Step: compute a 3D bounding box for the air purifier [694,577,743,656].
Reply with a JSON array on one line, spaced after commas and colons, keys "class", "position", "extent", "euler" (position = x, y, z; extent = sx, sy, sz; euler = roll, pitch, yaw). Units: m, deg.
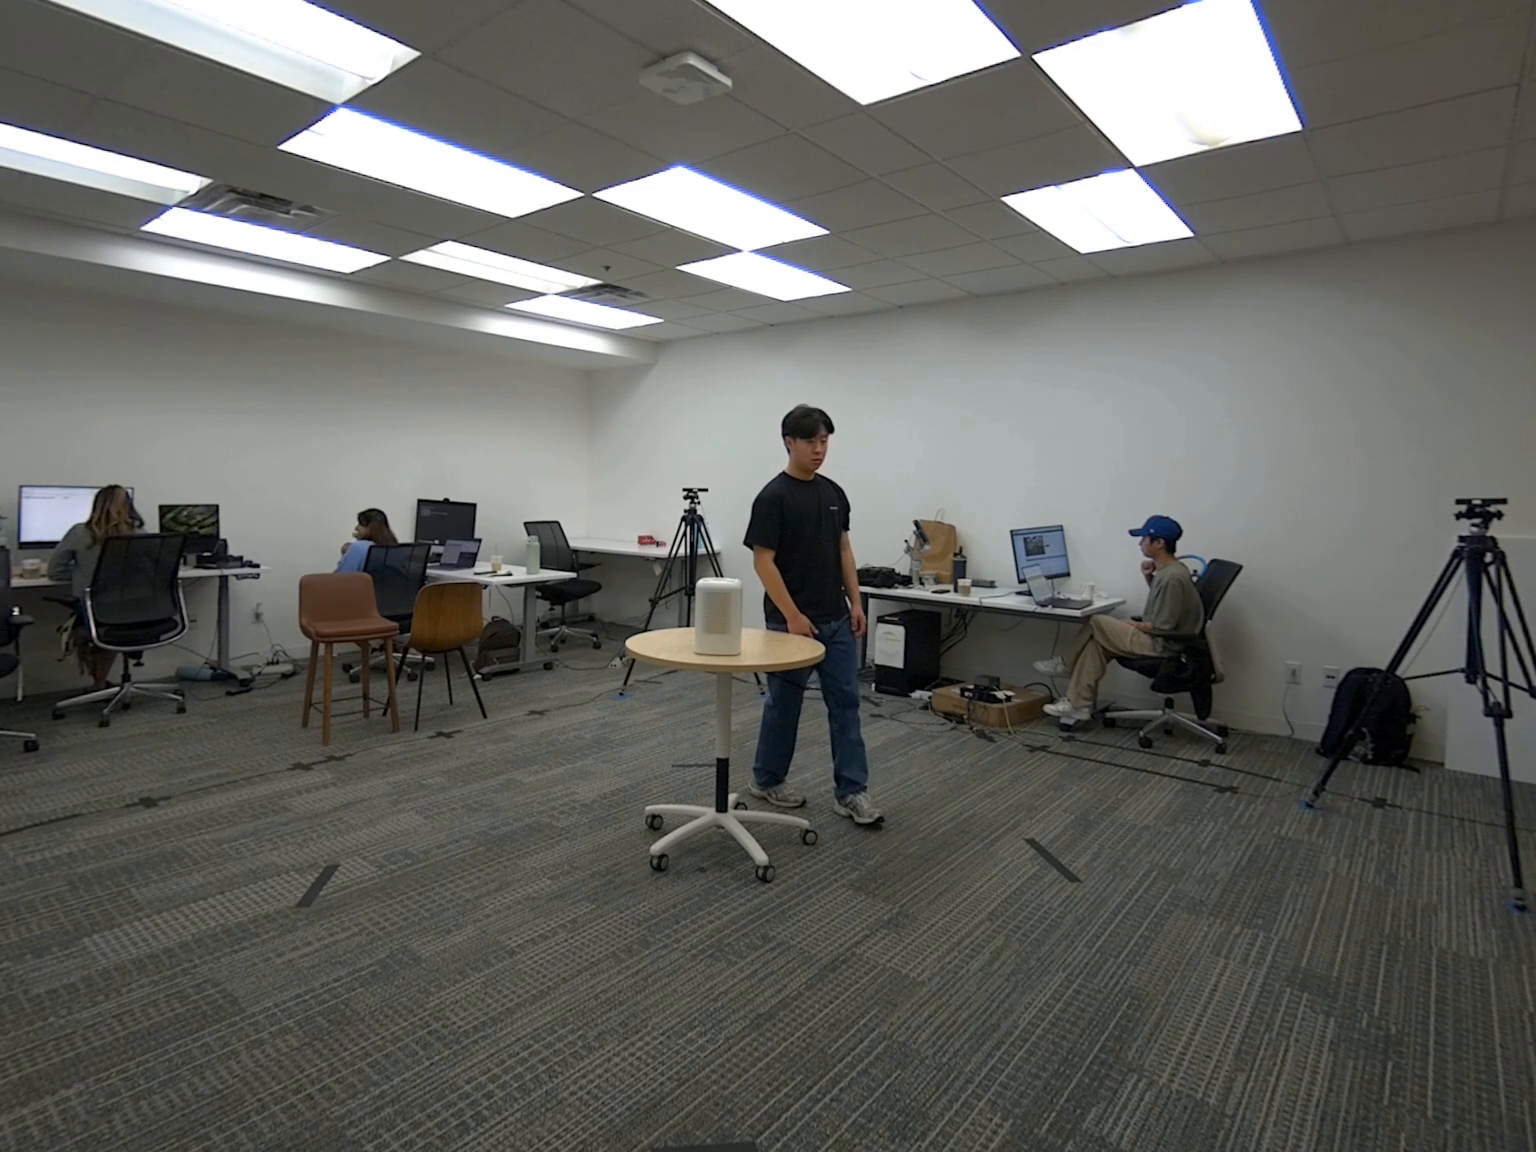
[{"class": "air purifier", "position": [-0.194, 0.142, 3.116], "extent": [0.172, 0.265, 0.171], "euler": [0, 3, 0]}]
